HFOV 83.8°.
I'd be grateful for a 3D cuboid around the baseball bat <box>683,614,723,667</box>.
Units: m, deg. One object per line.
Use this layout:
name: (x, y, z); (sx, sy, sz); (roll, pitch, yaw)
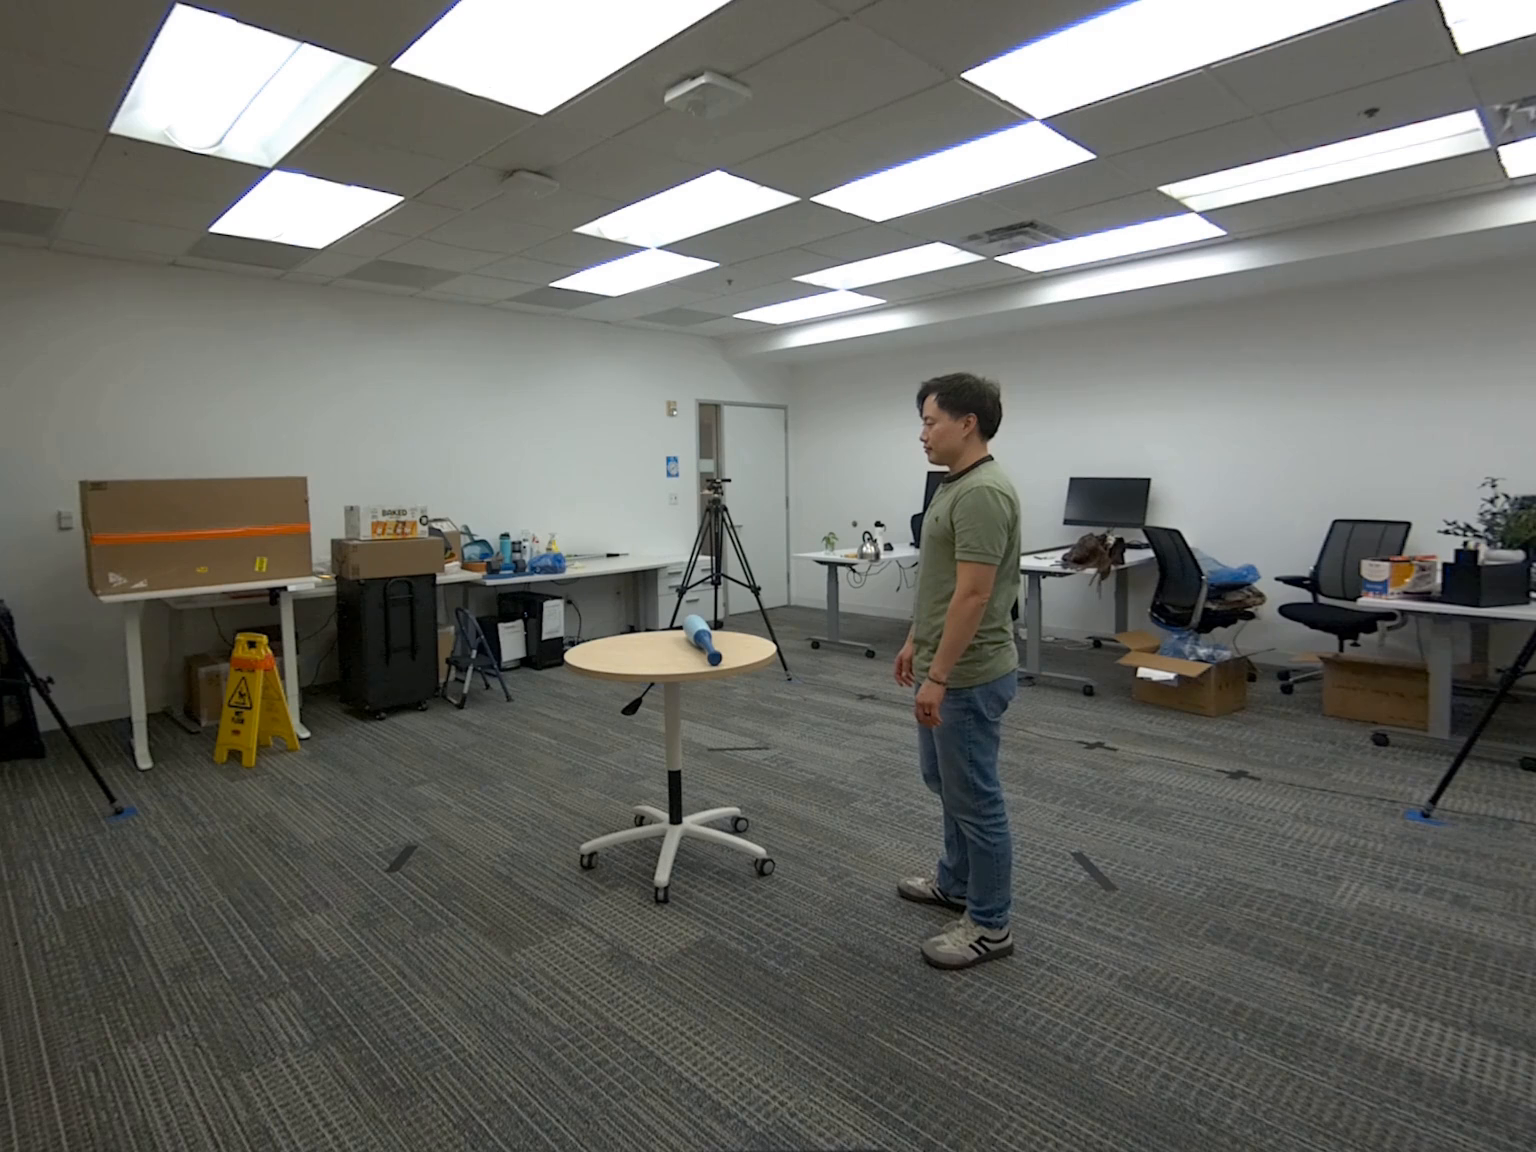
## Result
baseball bat: (-0.230, 0.229, 3.068); (0.088, 0.088, 0.552); (-2, 9, -11)
